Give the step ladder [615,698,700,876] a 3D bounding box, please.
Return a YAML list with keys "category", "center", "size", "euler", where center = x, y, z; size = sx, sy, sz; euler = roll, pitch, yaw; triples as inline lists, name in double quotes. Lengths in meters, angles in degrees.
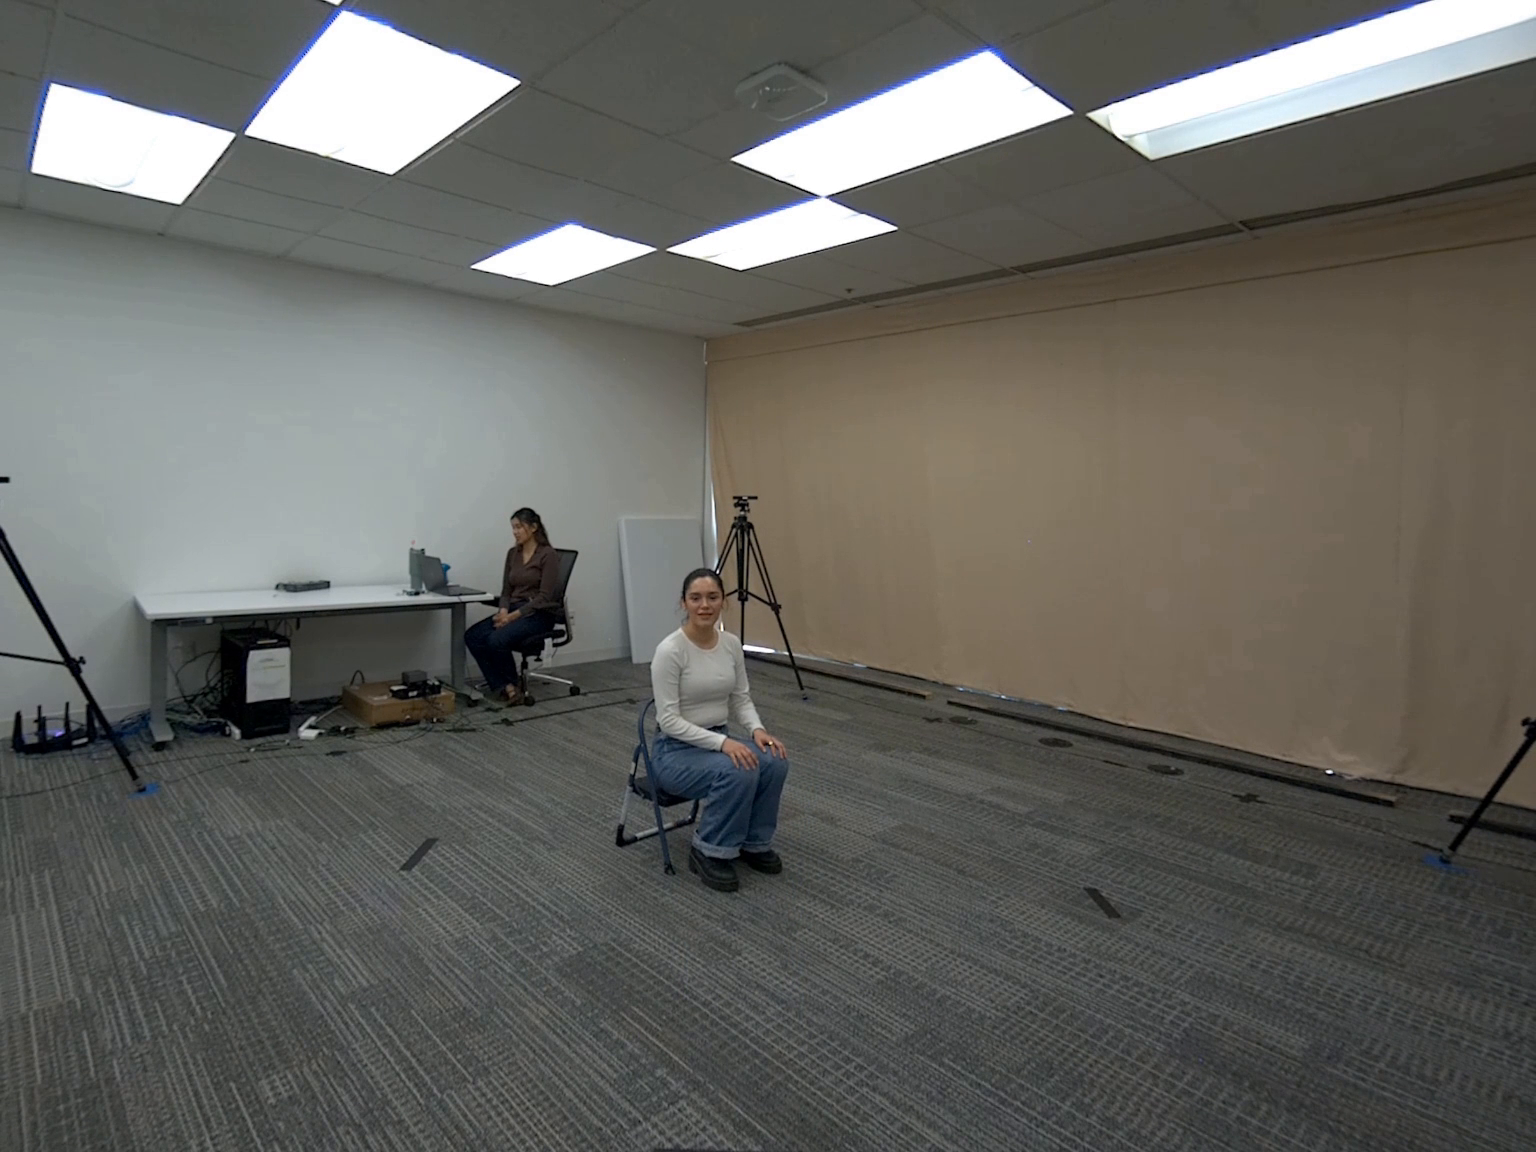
- category: "step ladder"
  center: [-0.342, 0.773, 3.347]
  size: [0.358, 0.605, 0.421]
  euler: [4, 5, 44]
